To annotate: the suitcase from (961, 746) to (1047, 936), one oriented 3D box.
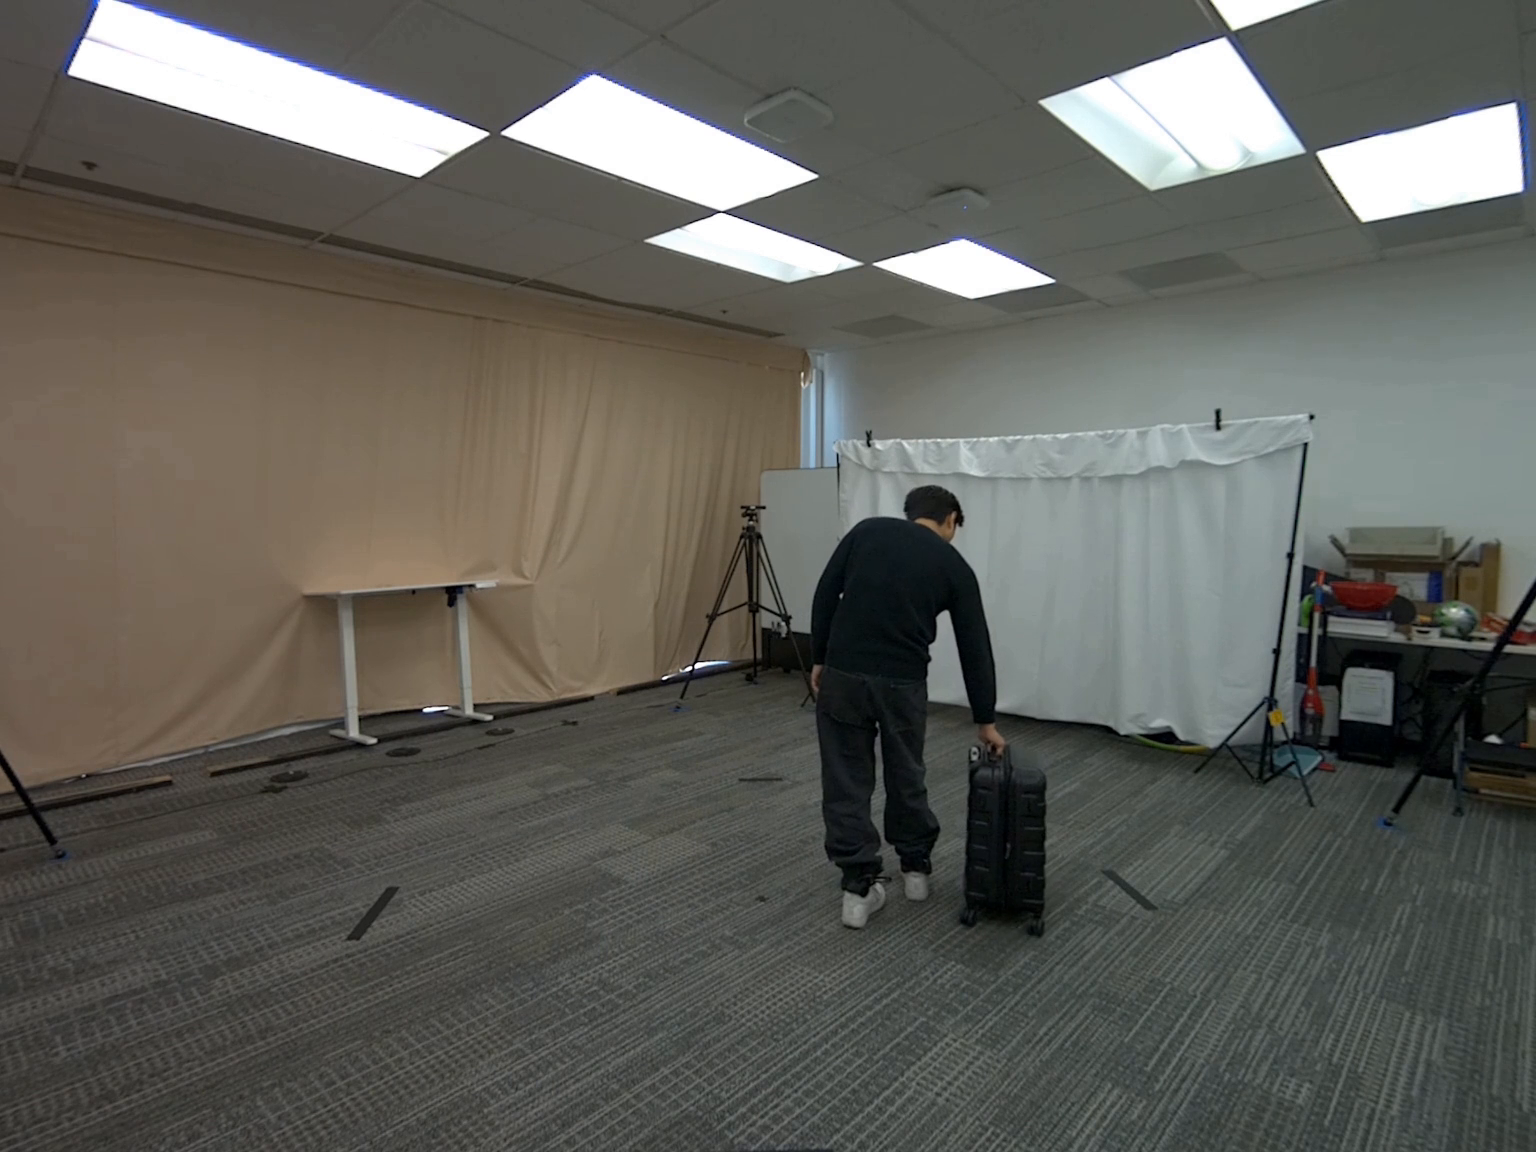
[{"bbox_3d":[0.825,0.873,2.899,0.253,0.548,0.369,2,2,15],"label":"suitcase"}]
